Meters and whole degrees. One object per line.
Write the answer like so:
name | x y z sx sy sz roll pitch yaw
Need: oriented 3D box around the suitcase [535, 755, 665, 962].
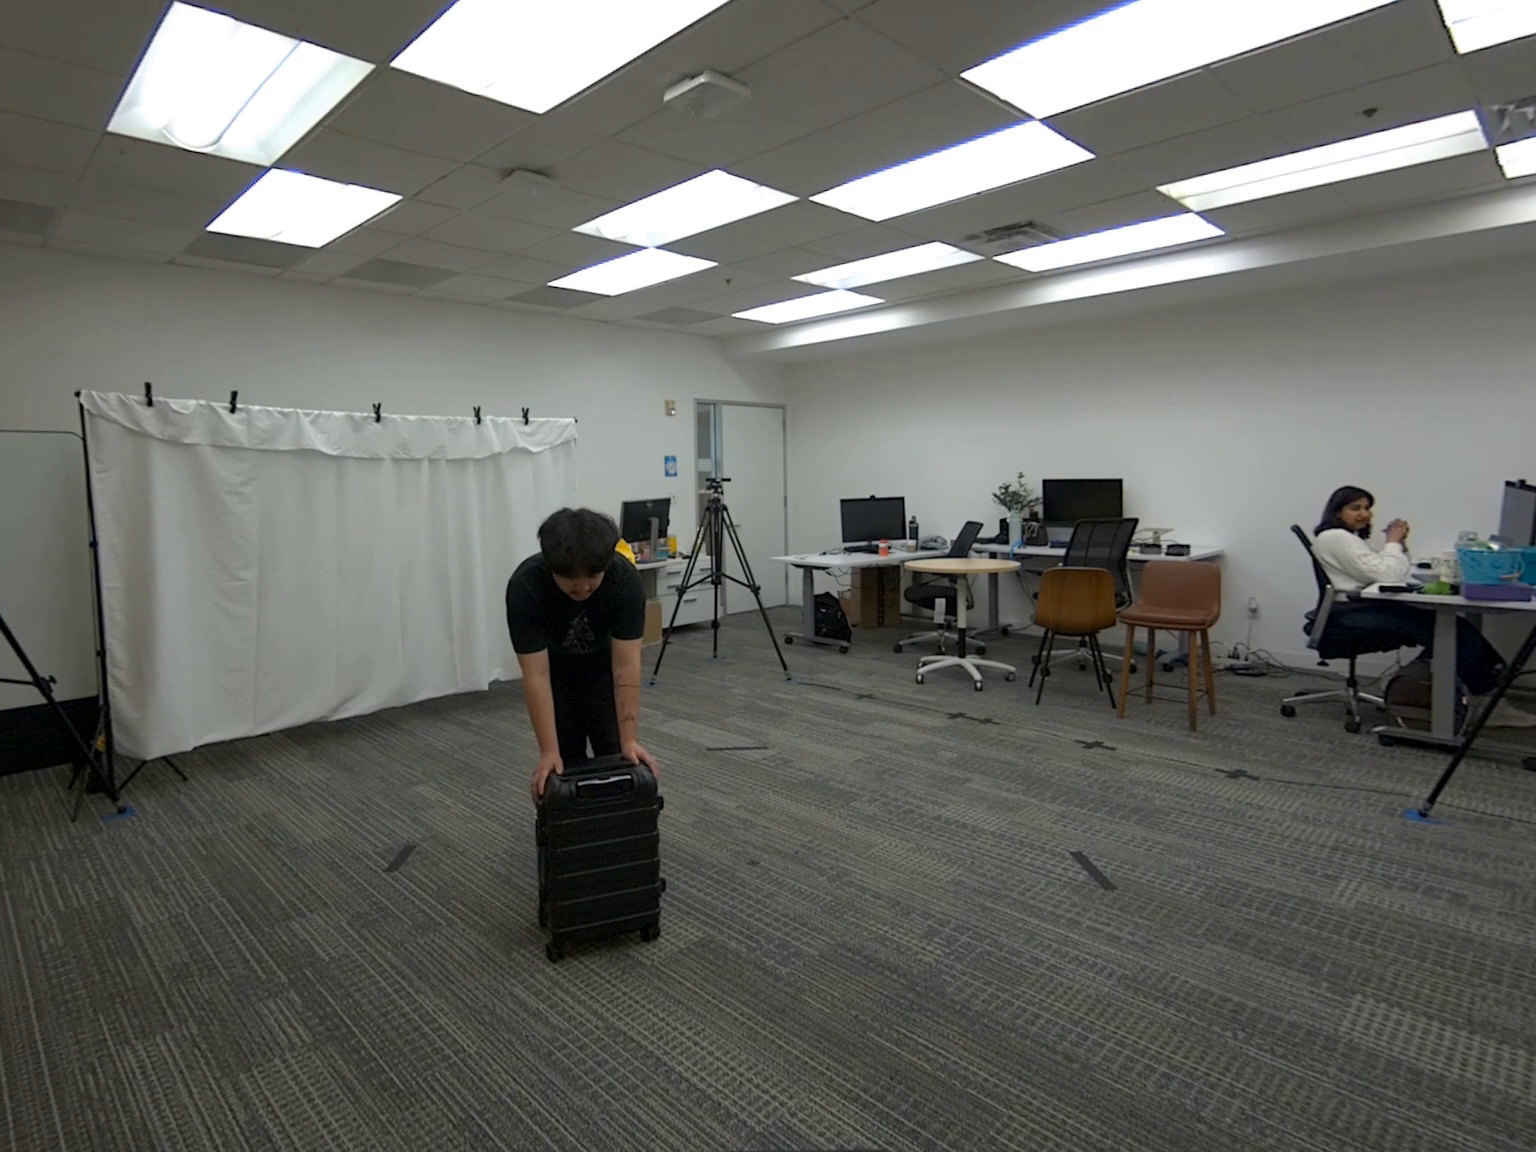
suitcase | -0.520 0.835 2.612 0.368 0.546 0.255 -2 7 -23
